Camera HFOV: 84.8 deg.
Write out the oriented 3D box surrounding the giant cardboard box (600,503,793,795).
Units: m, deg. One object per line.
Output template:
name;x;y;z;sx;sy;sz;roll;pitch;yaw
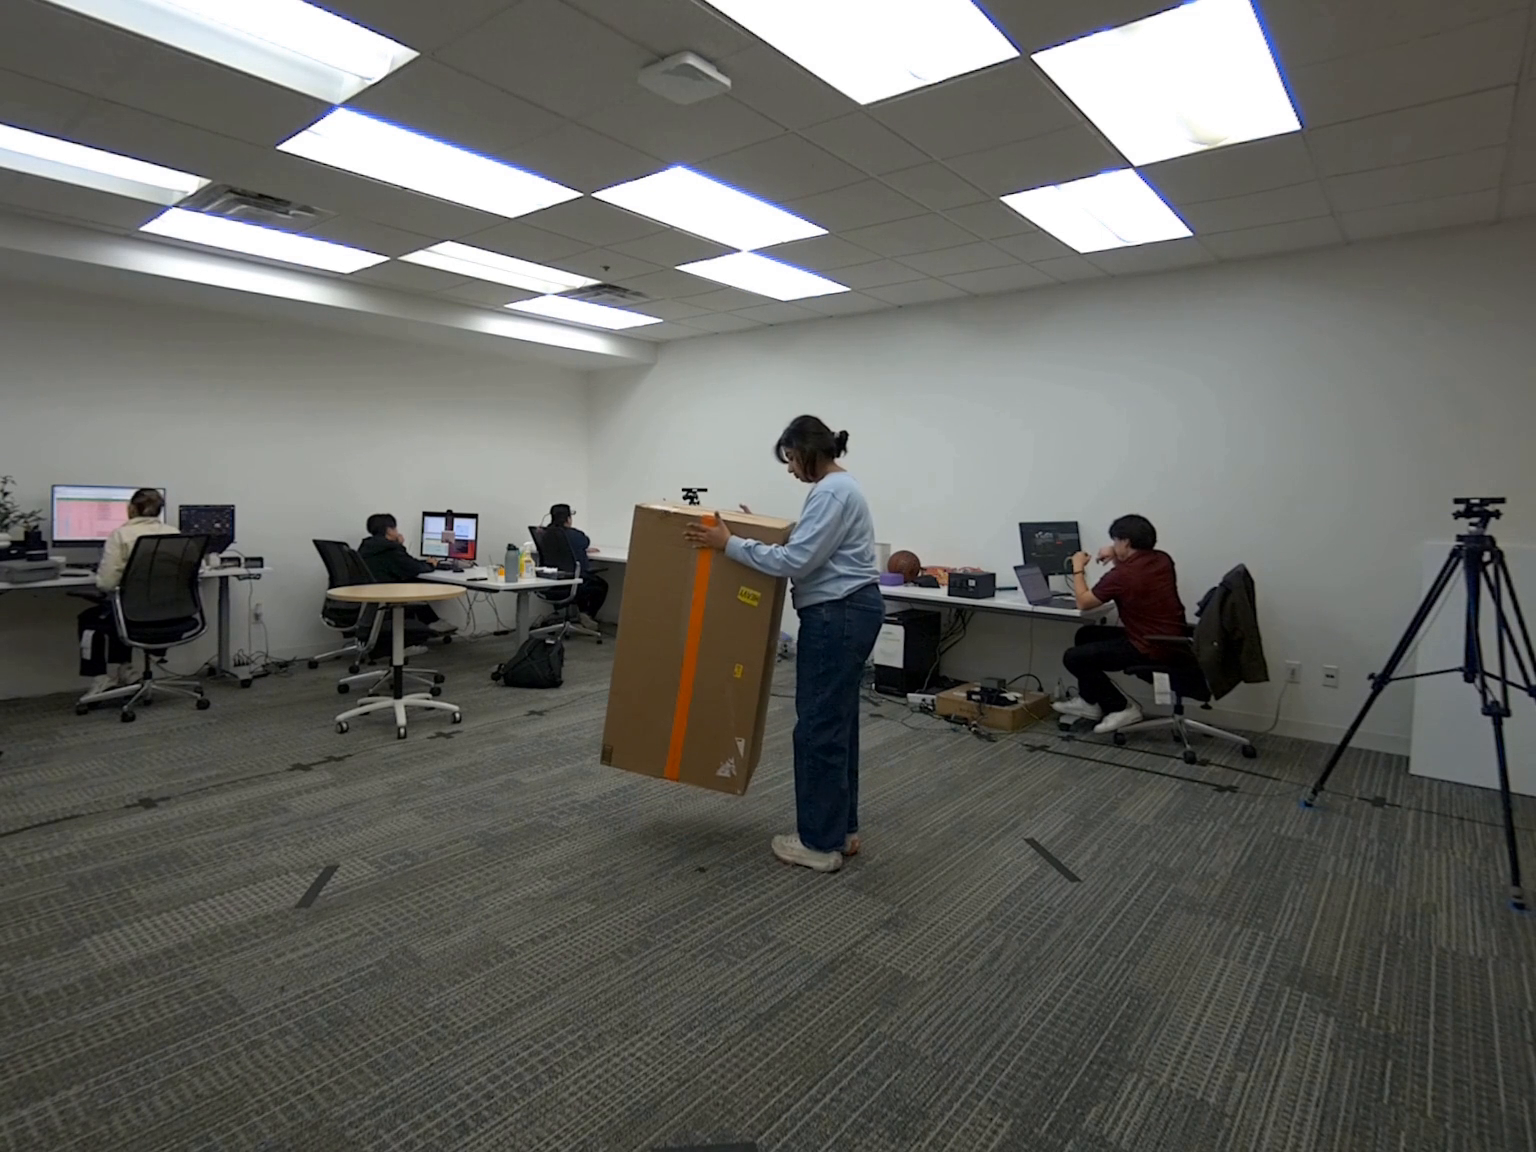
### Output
giant cardboard box;-0.277;0.257;3.390;0.592;1.021;0.443;9;7;11
